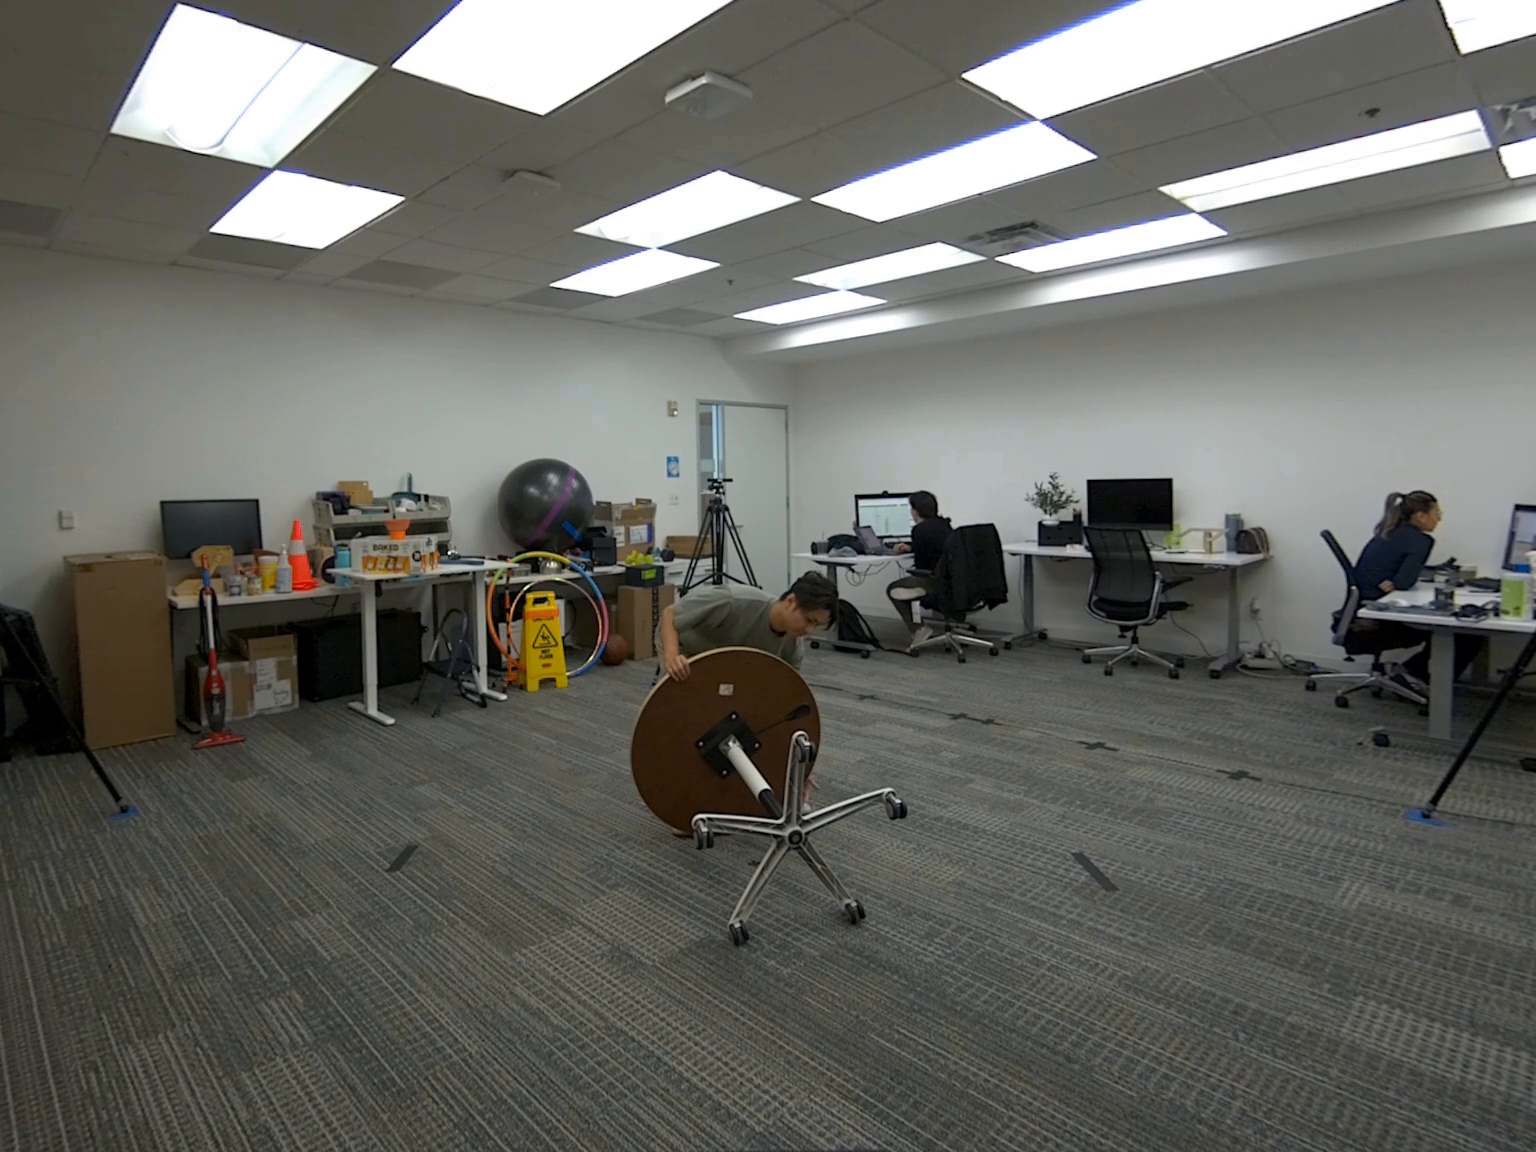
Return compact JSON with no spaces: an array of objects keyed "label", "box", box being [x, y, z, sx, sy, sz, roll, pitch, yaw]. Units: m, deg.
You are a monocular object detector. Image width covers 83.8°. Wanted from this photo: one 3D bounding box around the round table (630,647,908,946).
[{"label":"round table","box":[-0.025,0.733,2.926,0.773,0.777,0.807,-2,12,-18]}]
